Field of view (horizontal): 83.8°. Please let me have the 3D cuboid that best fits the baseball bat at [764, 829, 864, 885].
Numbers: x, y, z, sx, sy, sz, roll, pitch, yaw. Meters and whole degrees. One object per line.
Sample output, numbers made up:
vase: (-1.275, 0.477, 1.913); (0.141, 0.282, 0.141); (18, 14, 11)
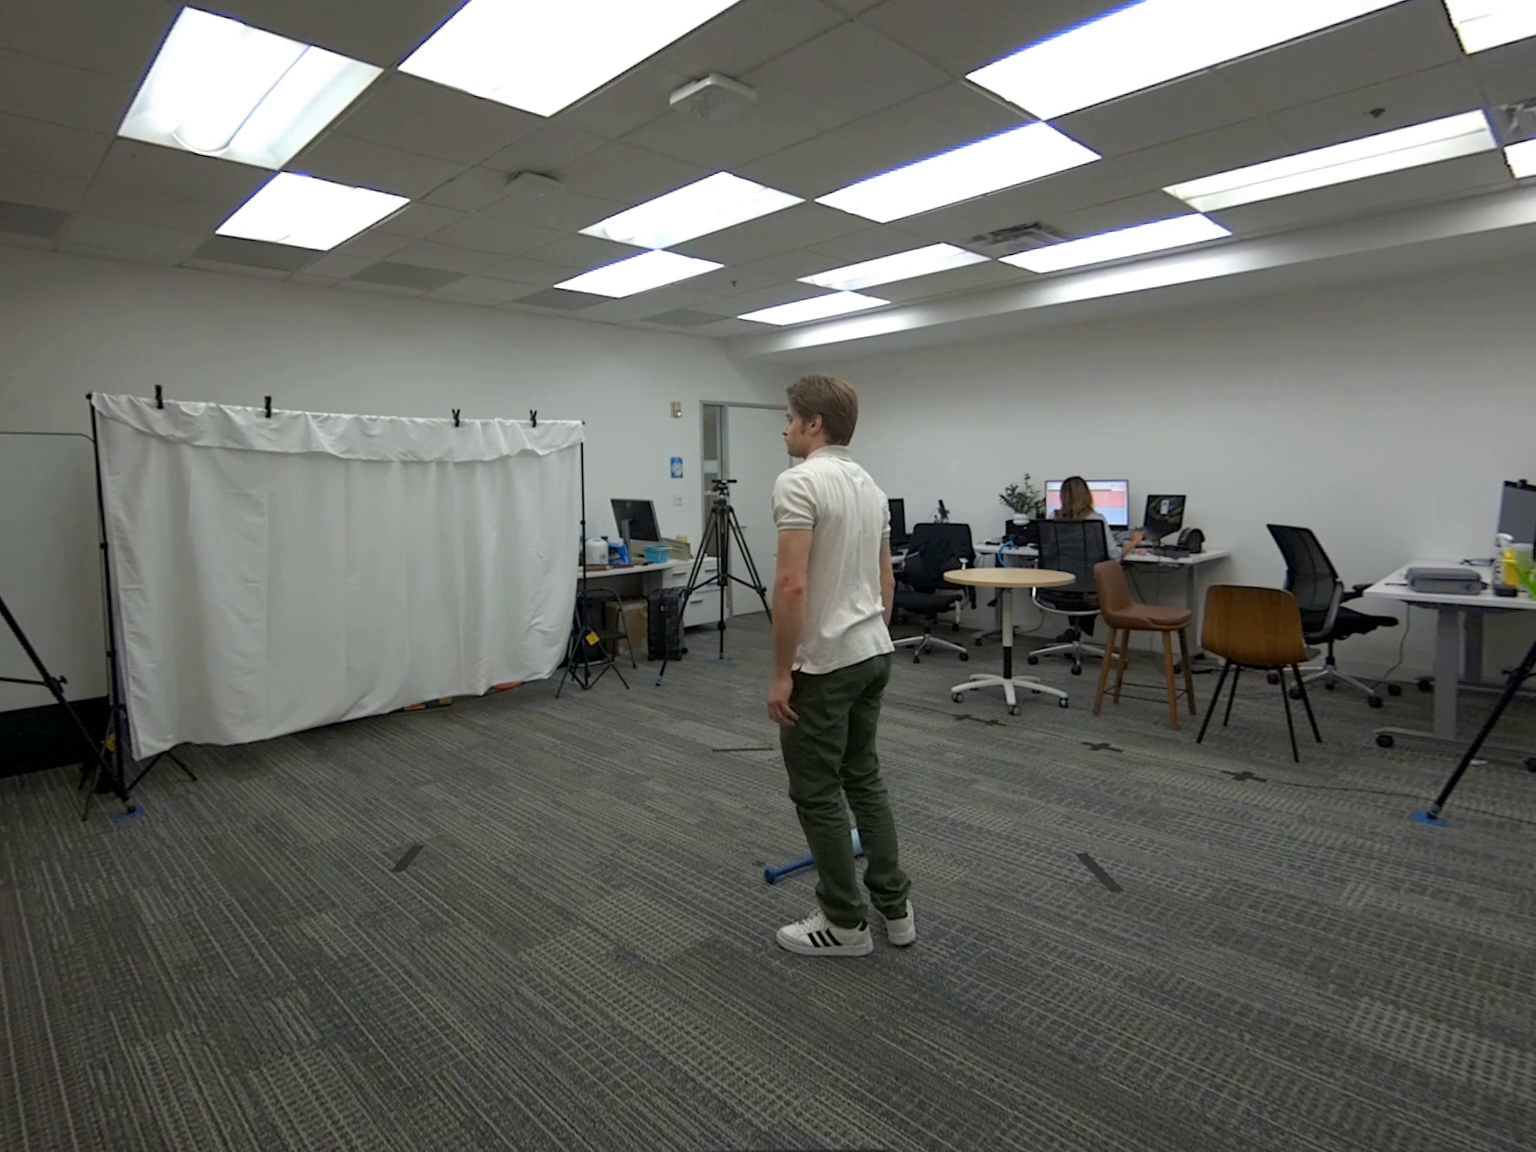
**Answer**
baseball bat: (0.226, 1.009, 3.095); (0.531, 0.088, 0.091); (-9, 8, -32)
